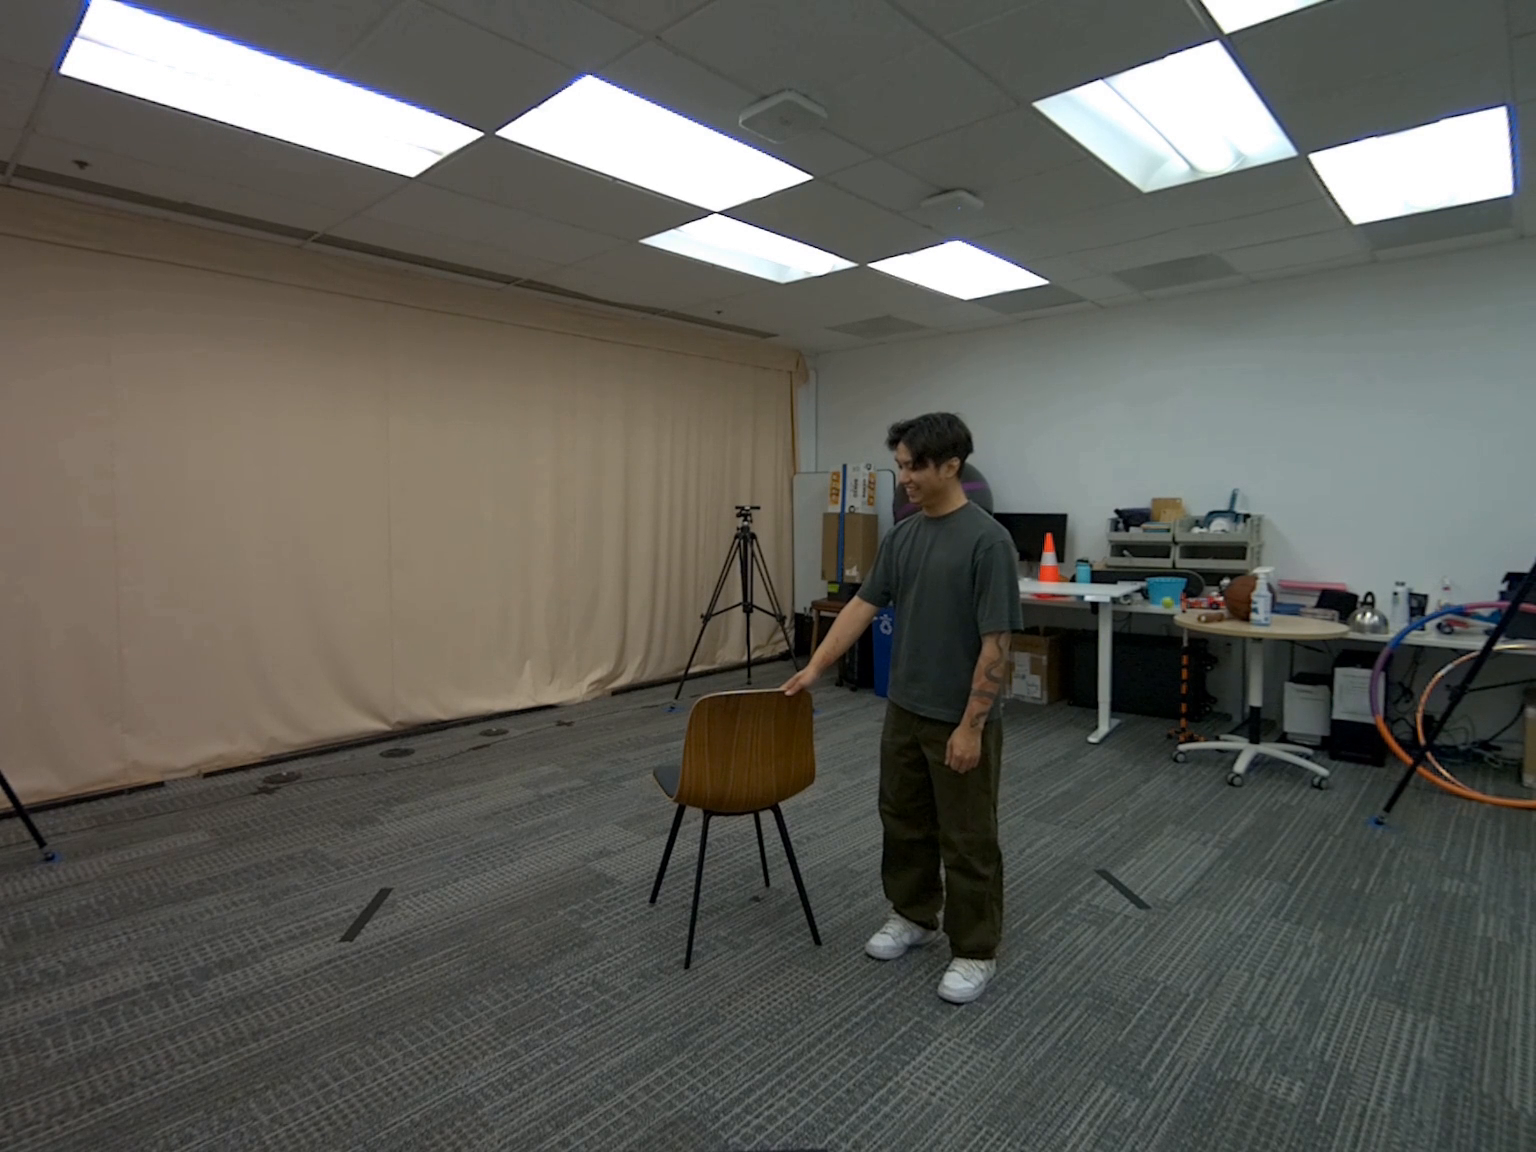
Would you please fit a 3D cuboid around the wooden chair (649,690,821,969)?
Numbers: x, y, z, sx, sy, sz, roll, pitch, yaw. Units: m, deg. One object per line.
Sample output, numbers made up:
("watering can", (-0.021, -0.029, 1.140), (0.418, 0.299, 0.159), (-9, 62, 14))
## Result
("wooden chair", (-0.123, 0.735, 2.787), (0.469, 0.873, 0.536), (-2, 8, -20))
